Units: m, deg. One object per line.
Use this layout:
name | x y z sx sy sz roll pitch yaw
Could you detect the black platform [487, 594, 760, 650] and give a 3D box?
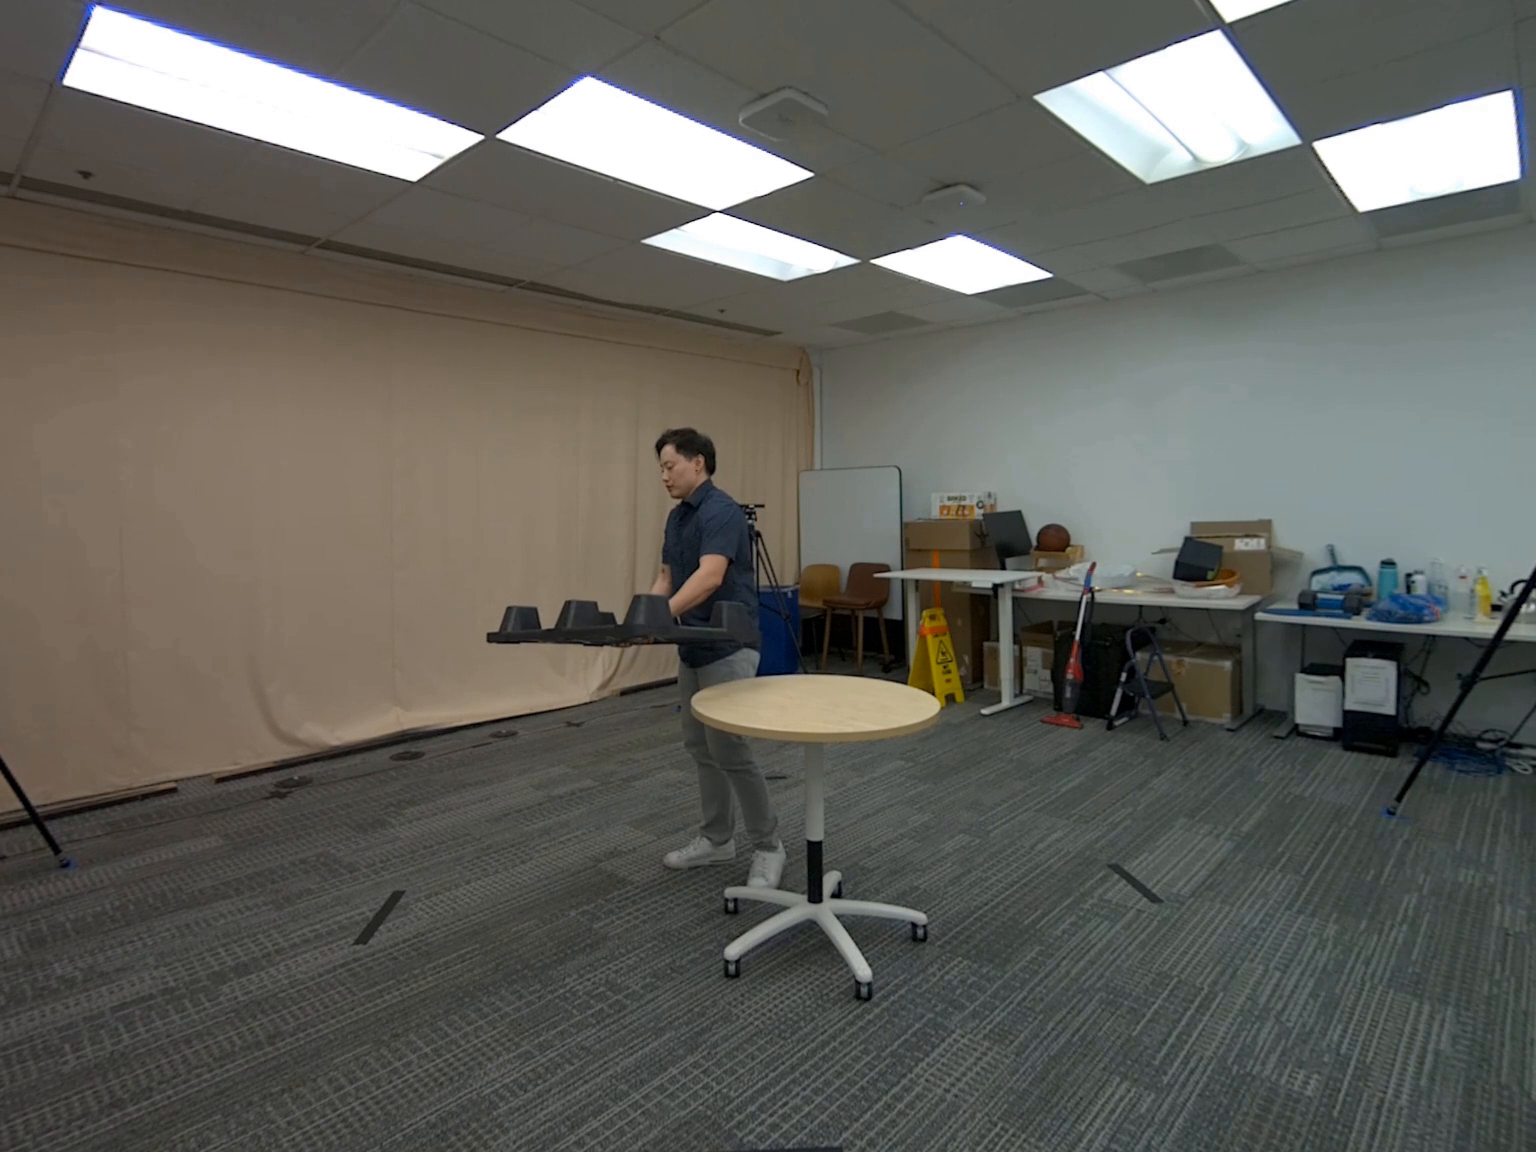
black platform | -0.518 0.175 2.952 0.829 0.144 0.584 -5 -10 40
